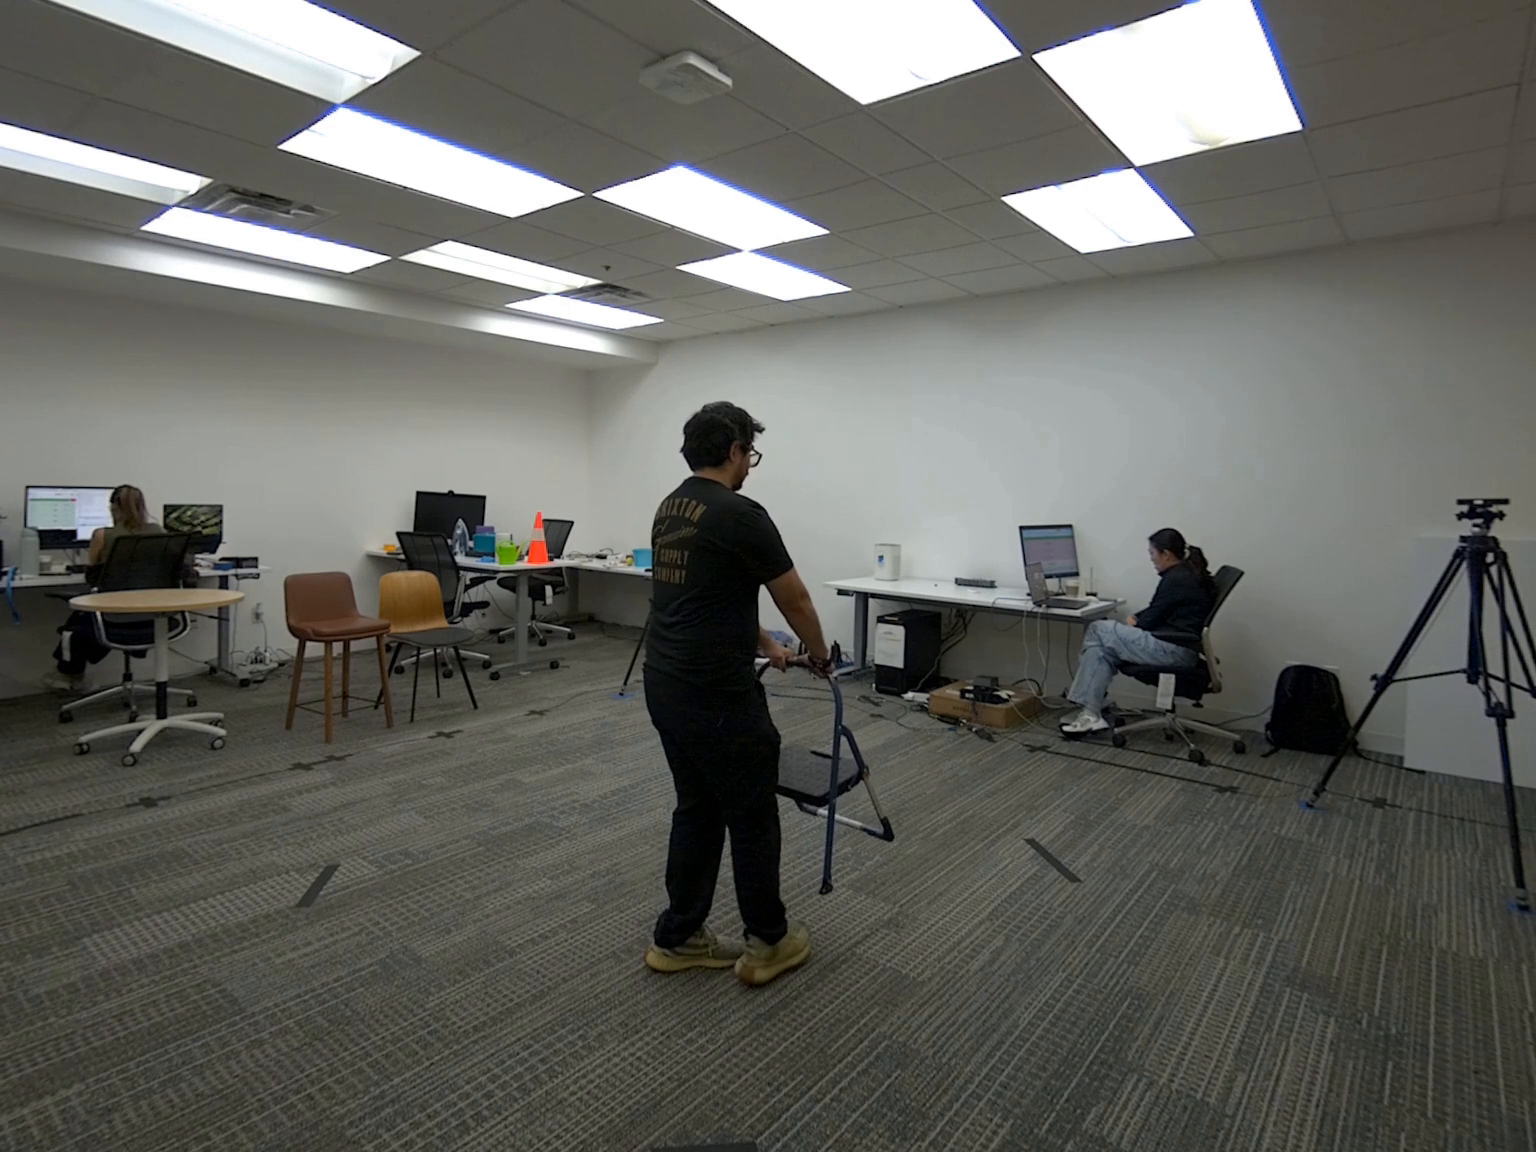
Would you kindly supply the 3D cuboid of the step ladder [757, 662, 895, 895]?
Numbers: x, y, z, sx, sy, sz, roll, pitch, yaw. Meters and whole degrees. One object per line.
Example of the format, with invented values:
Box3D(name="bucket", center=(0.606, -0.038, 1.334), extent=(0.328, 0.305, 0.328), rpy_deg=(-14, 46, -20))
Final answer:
Box3D(name="step ladder", center=(0.085, 0.581, 2.694), extent=(0.342, 0.599, 0.444), rpy_deg=(-19, 14, -41))
